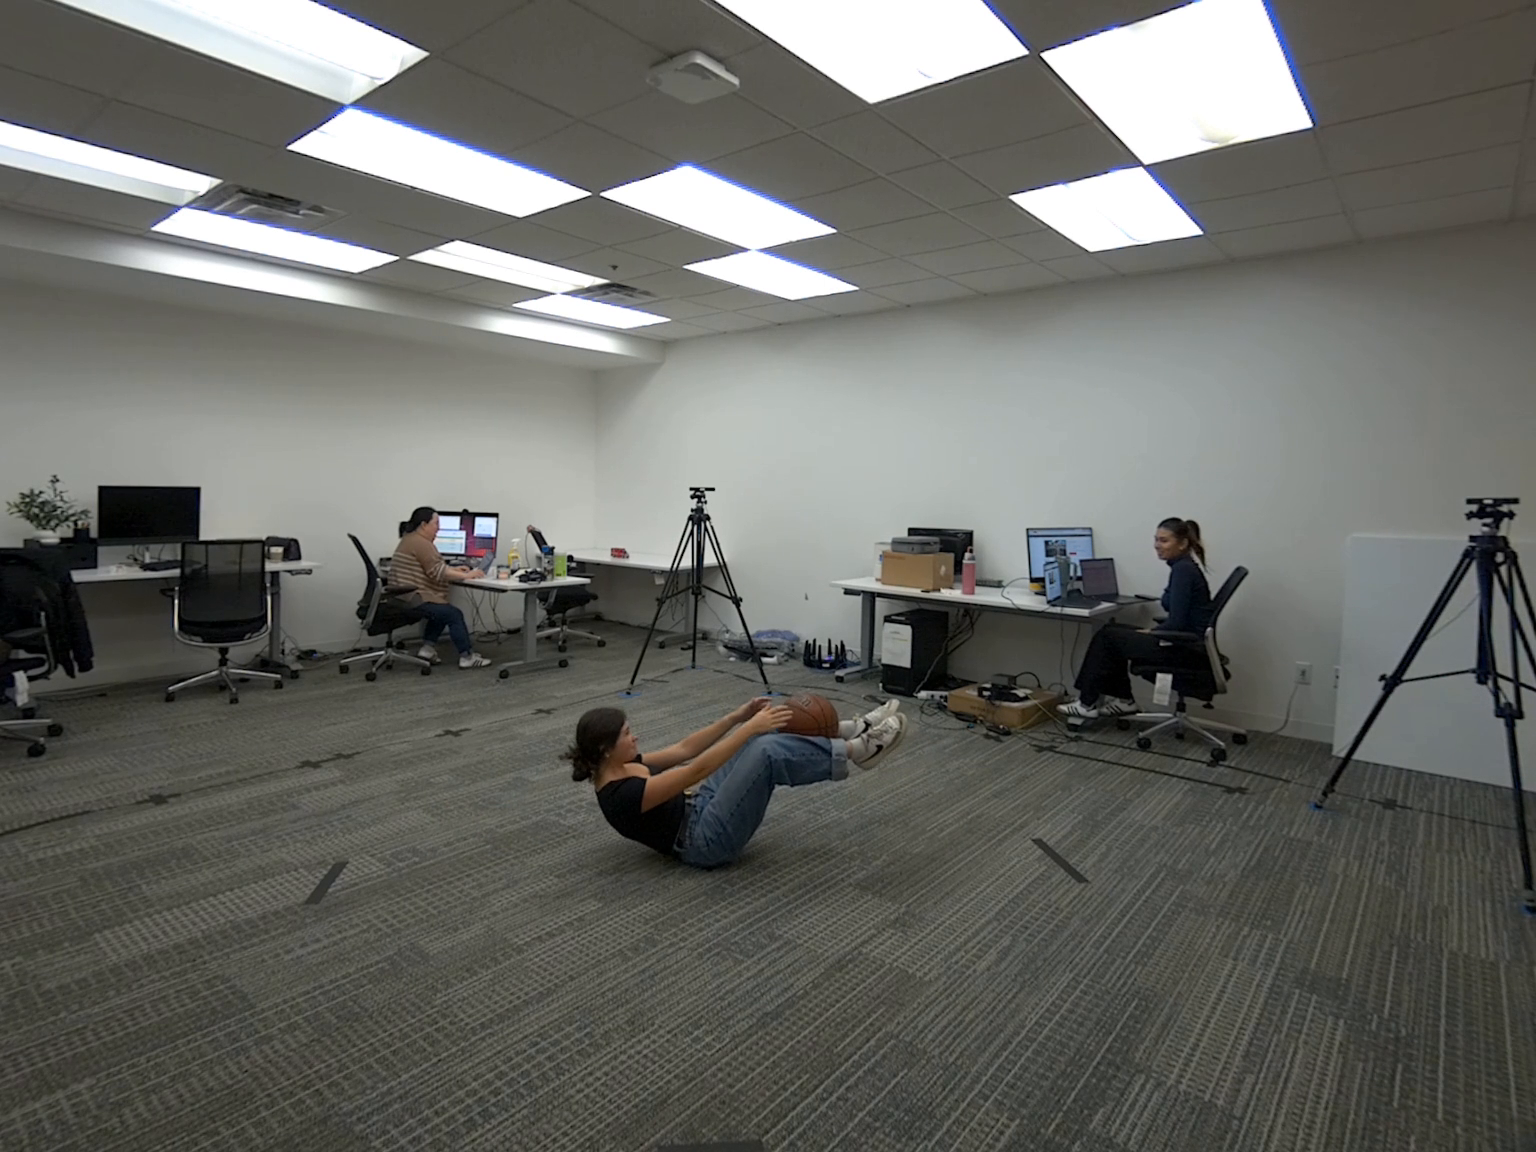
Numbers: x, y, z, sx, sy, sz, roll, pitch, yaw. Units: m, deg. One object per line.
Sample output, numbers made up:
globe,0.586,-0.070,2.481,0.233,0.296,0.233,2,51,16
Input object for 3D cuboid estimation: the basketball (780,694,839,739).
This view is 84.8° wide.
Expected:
basketball,0.142,0.562,3.271,0.235,0.235,0.237,1,4,-2
